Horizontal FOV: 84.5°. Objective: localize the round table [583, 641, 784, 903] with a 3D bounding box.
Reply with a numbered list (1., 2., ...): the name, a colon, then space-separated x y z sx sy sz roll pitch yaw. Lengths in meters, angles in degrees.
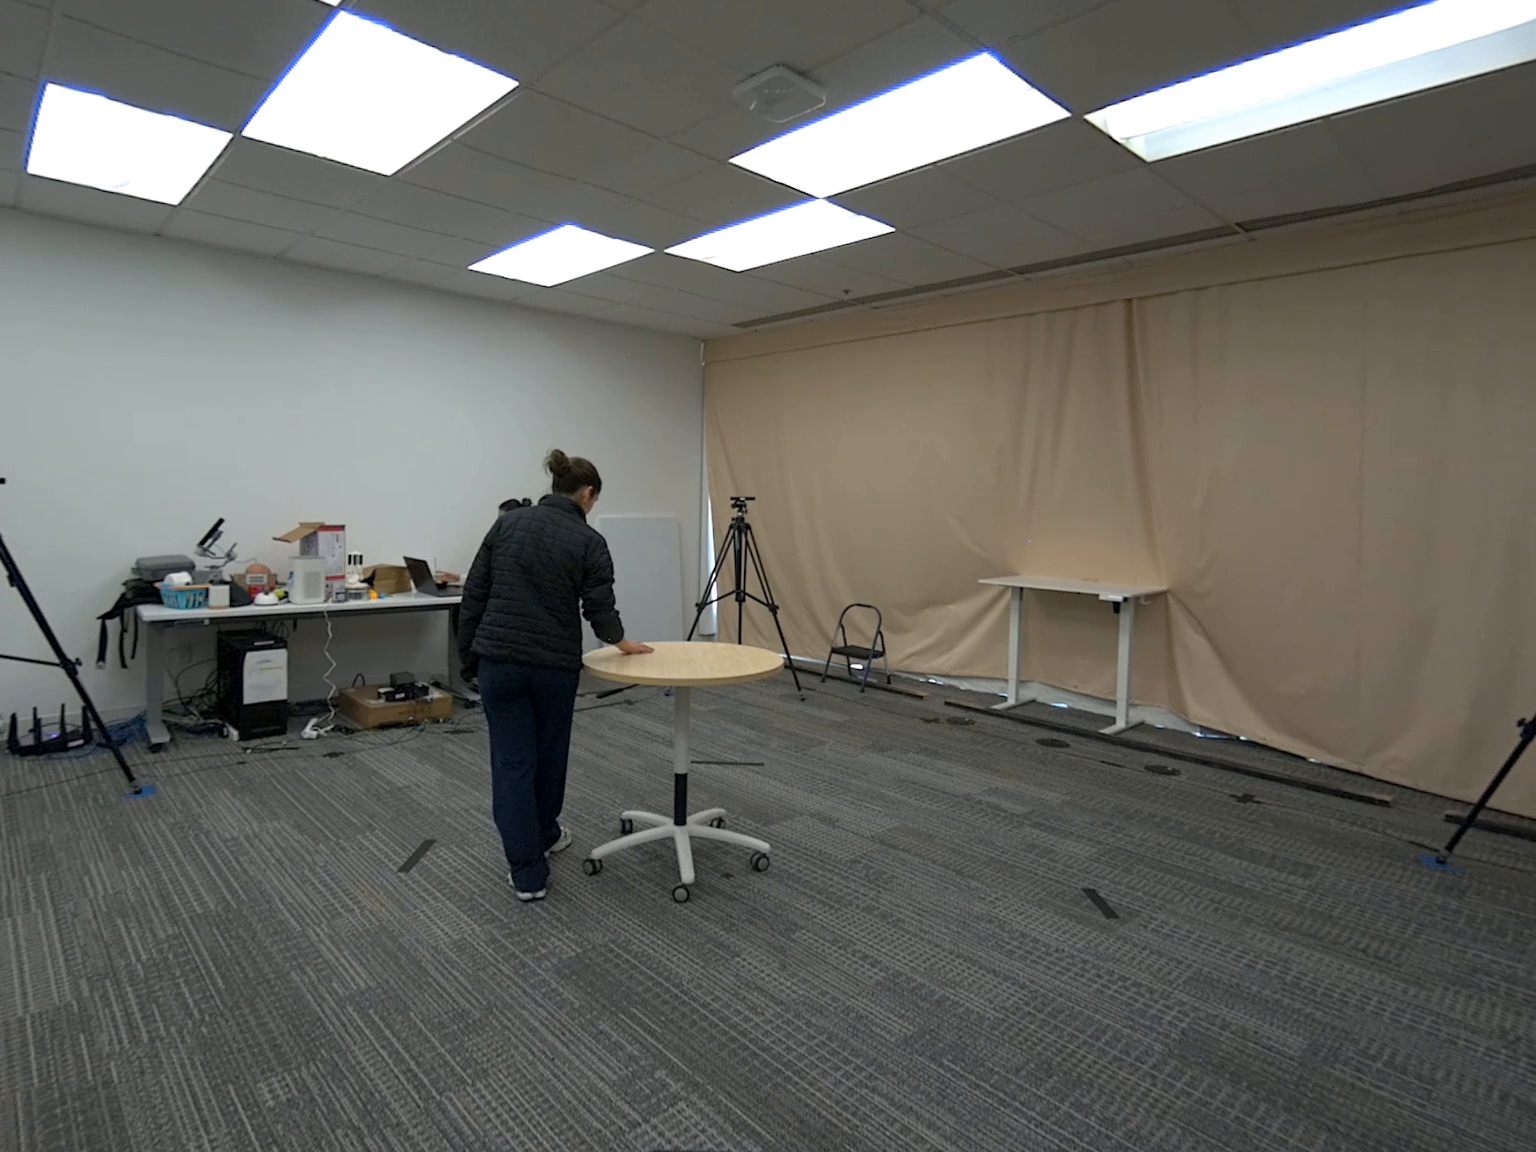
1. round table: -0.325 0.699 3.211 0.784 0.785 0.787 1 4 -1
